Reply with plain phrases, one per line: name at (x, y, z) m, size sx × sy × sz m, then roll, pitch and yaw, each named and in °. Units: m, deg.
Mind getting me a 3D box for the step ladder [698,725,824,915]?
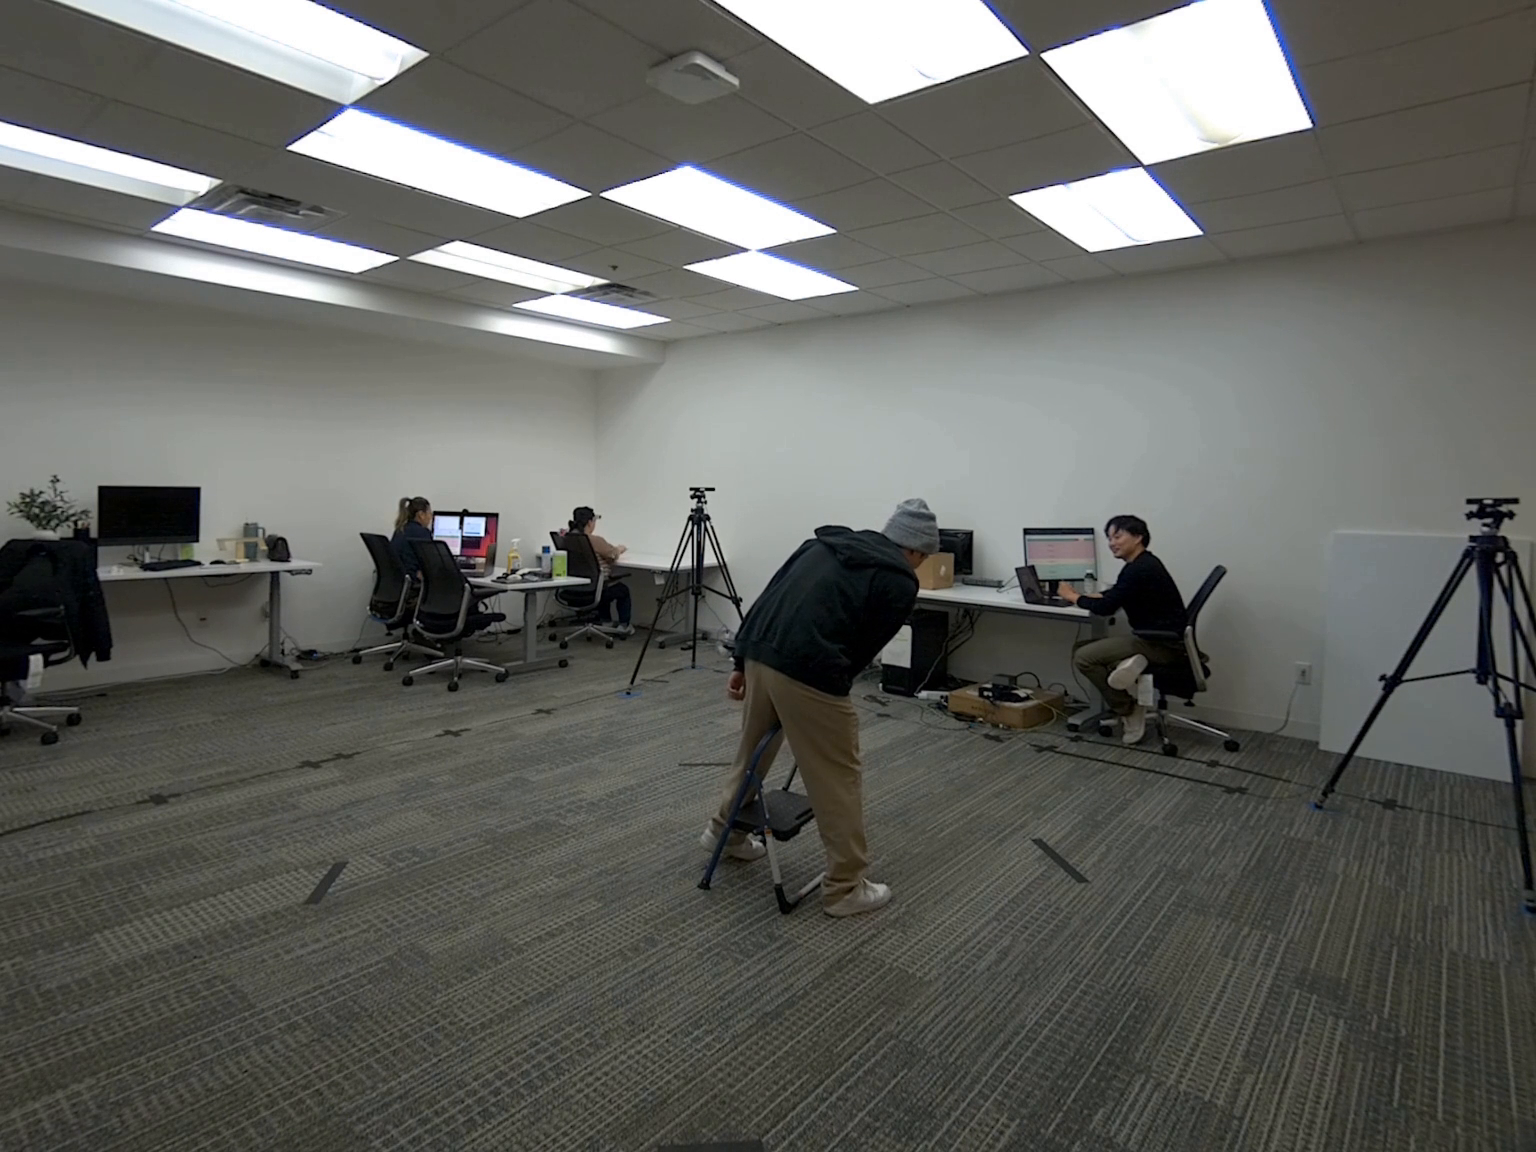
step ladder at (0.011, 0.780, 3.025) m, size 0.359 × 0.605 × 0.419 m, roll 3°, pitch 3°, yaw 30°
